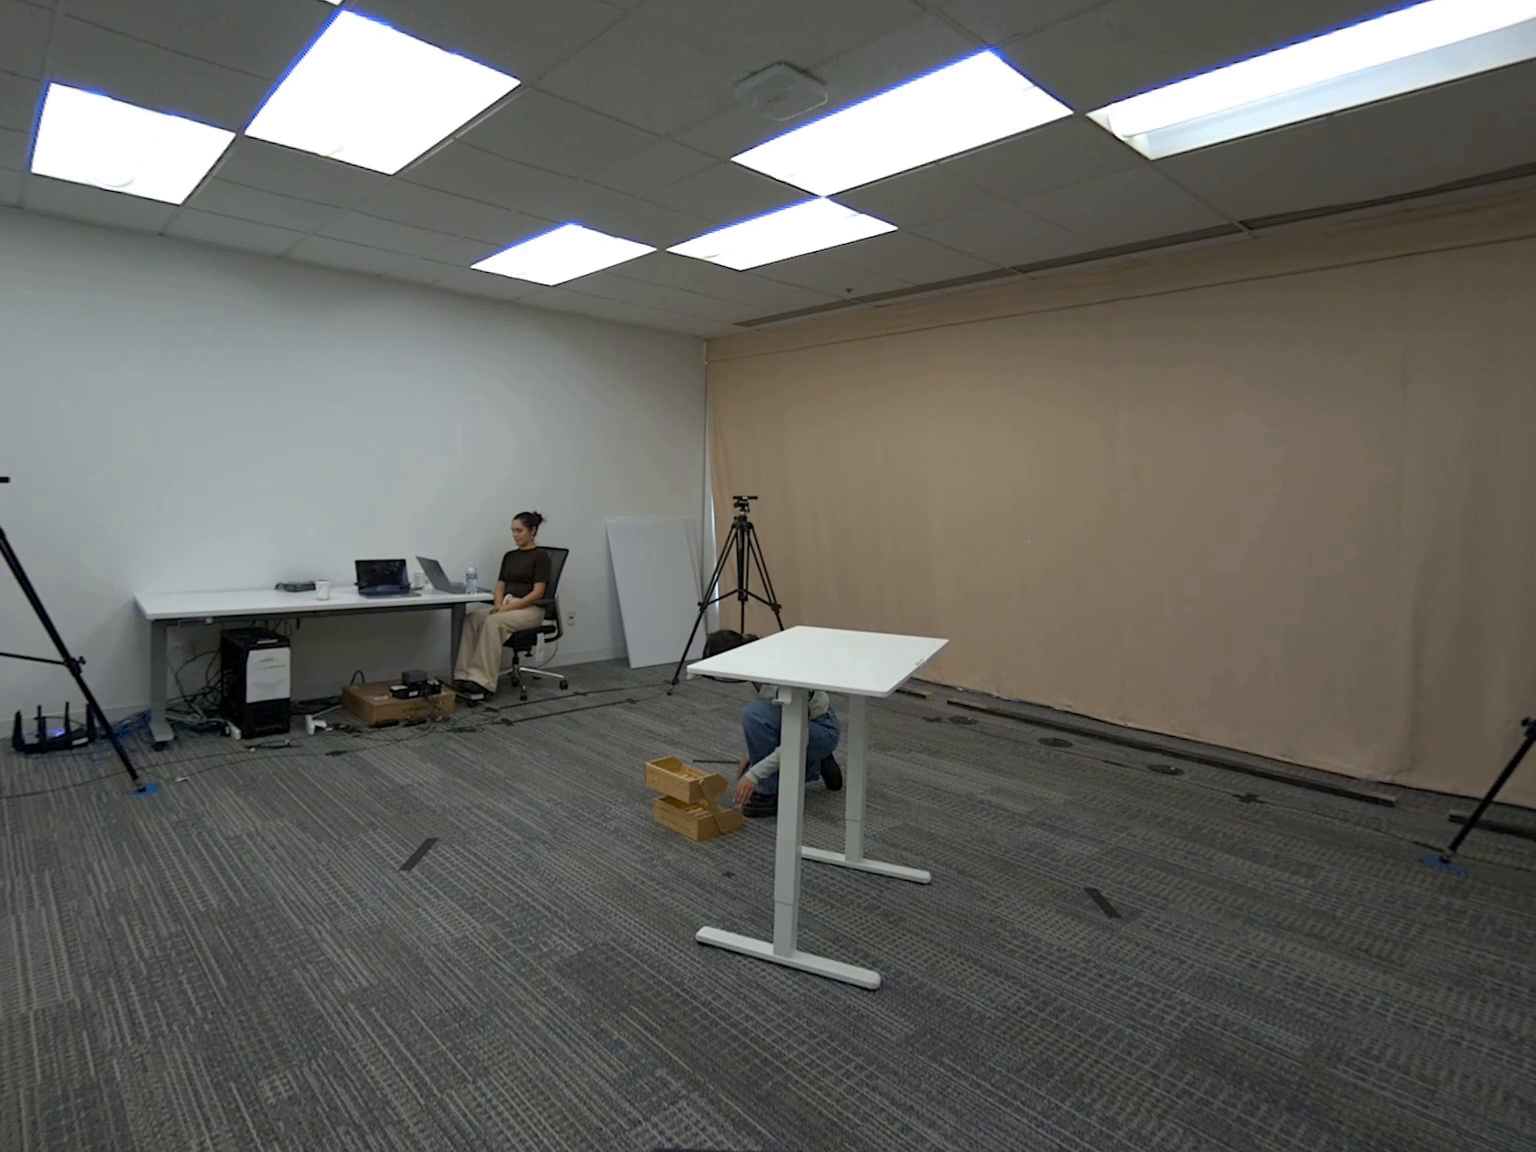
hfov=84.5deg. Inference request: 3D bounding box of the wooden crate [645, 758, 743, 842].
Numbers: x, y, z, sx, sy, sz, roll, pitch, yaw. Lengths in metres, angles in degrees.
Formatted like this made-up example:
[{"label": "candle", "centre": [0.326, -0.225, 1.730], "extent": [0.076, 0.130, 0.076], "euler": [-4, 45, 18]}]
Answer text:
[{"label": "wooden crate", "centre": [-0.324, 0.923, 3.565], "extent": [0.295, 0.272, 0.333], "euler": [-3, 7, -44]}]
